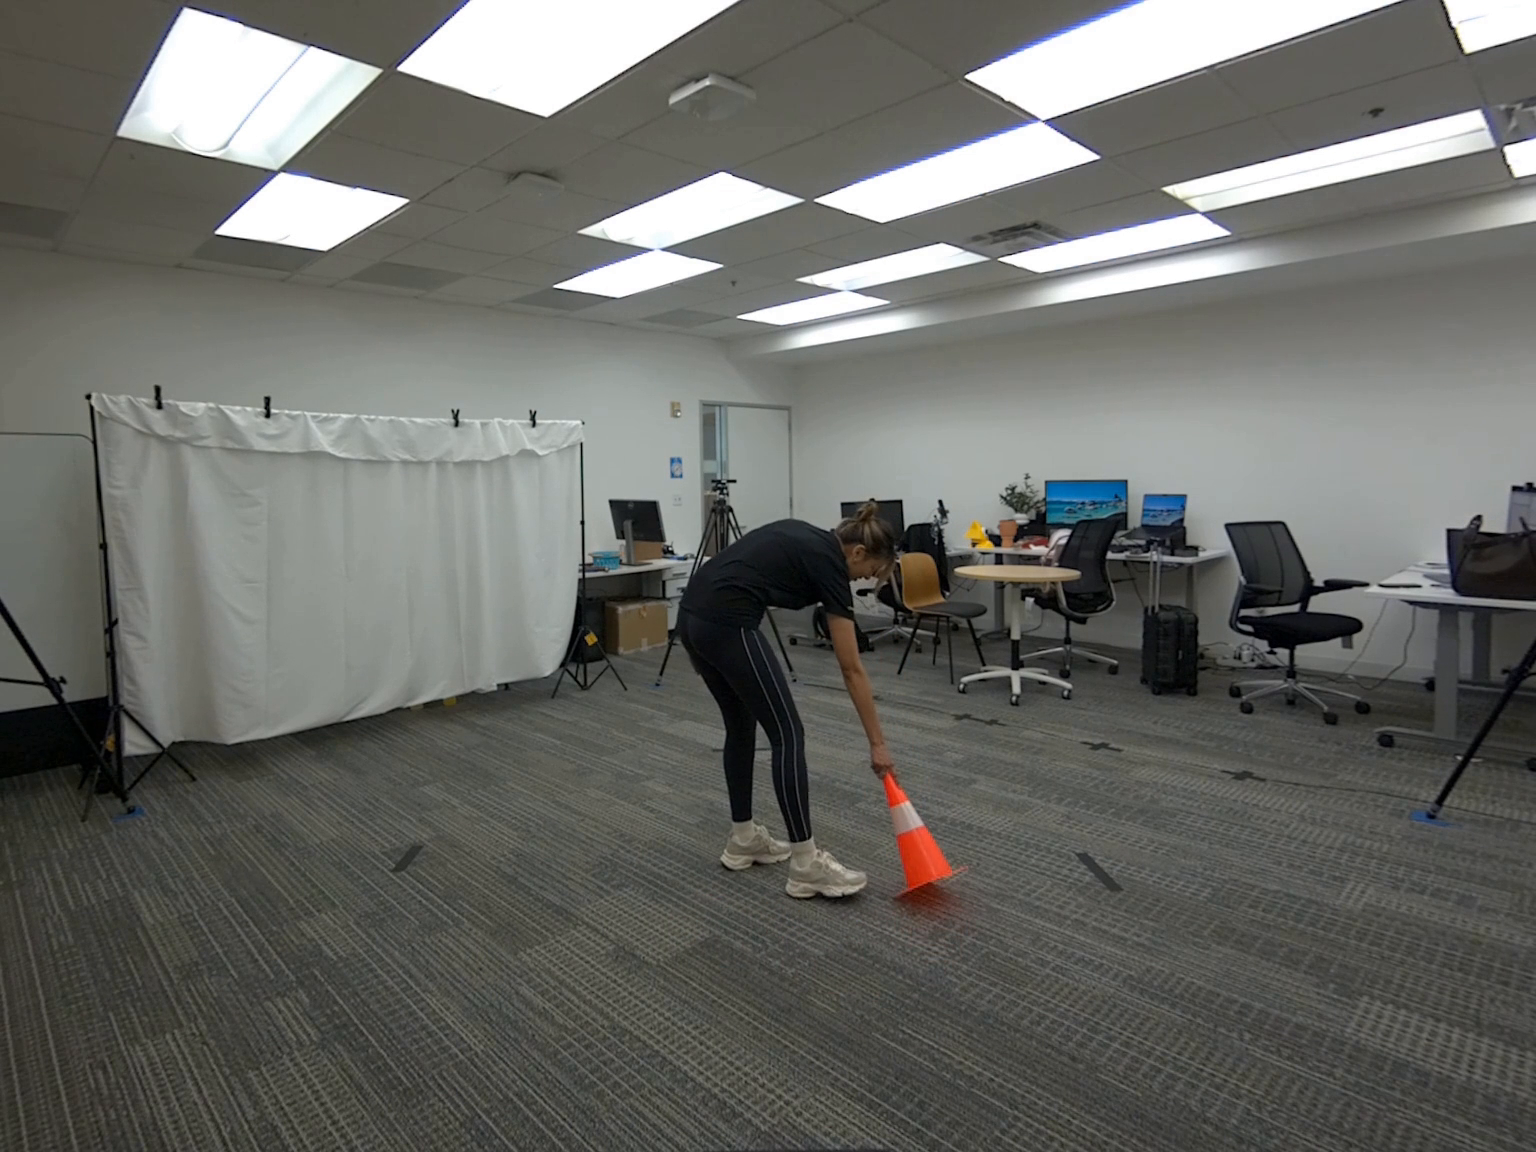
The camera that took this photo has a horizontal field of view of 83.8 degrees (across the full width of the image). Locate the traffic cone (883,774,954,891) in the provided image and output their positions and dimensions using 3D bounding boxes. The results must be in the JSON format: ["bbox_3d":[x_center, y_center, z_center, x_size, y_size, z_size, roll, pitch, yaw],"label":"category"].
[{"bbox_3d":[0.470,0.851,2.895,0.197,0.394,0.205,0,-31,-40],"label":"traffic cone"}]
